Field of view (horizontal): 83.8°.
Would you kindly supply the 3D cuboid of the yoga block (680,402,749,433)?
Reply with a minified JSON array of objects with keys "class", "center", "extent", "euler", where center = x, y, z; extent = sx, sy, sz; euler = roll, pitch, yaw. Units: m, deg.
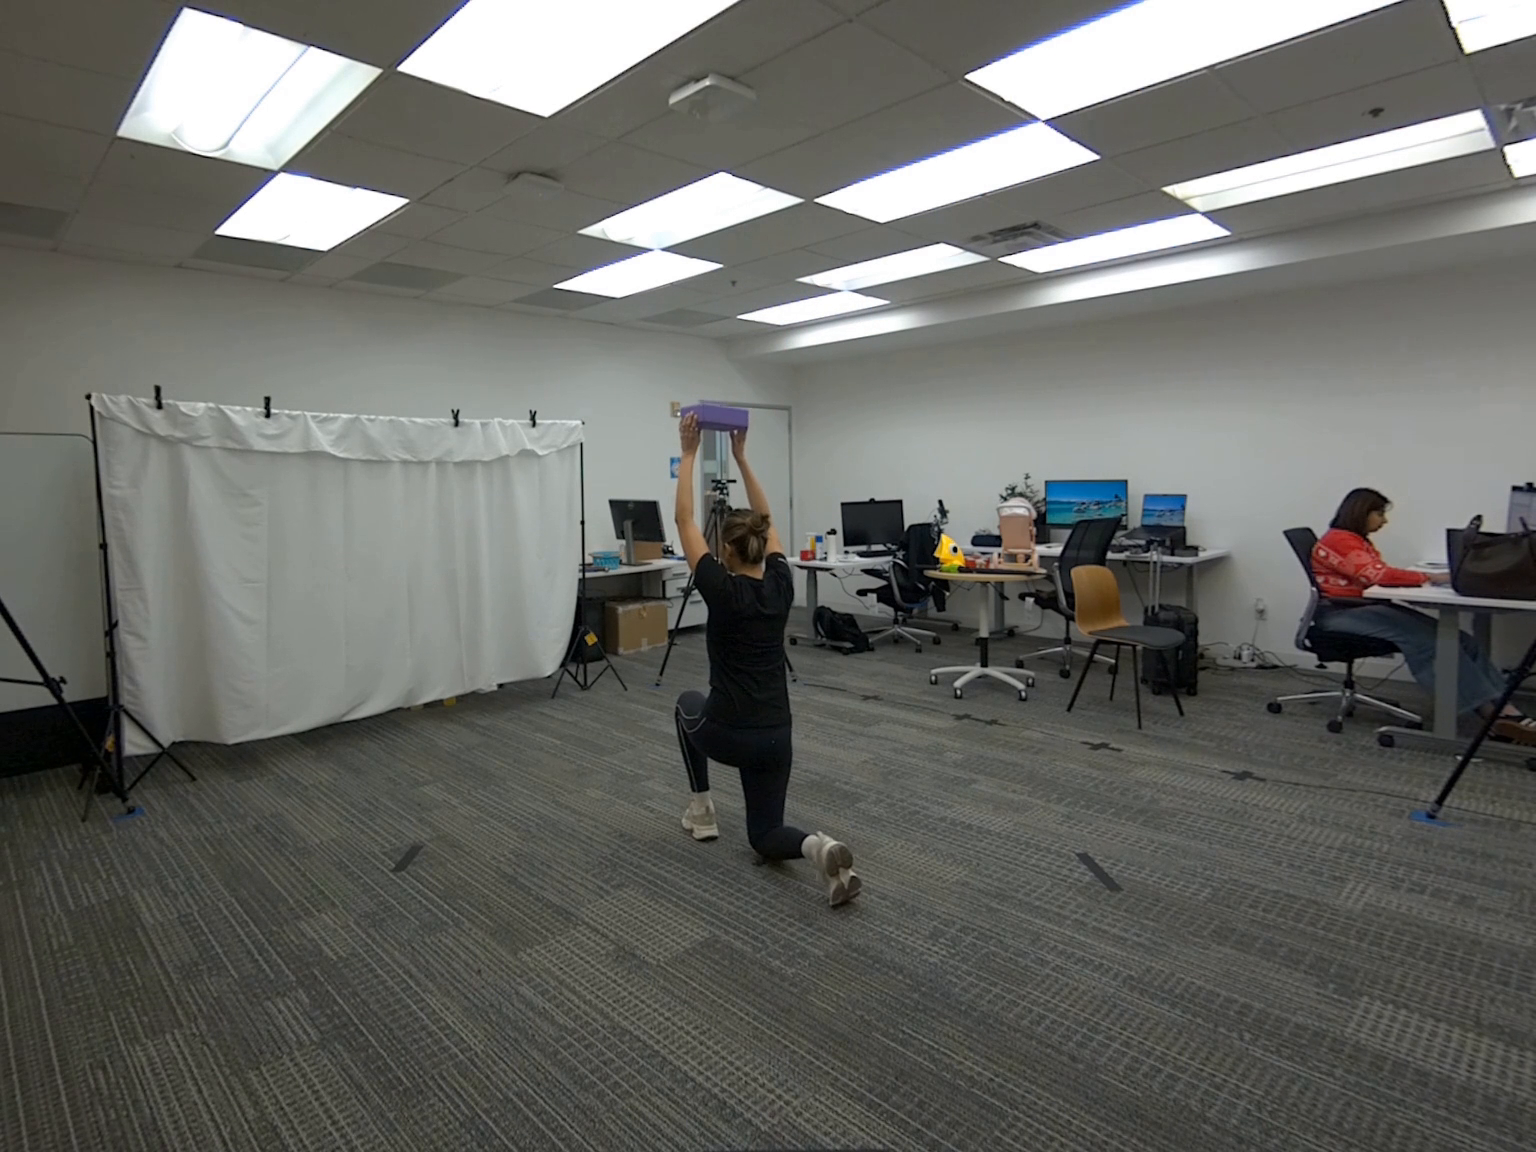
[{"class":"yoga block","center":[-0.208,-0.615,3.277],"extent":[0.223,0.076,0.153],"euler":[0,1,-42]}]
